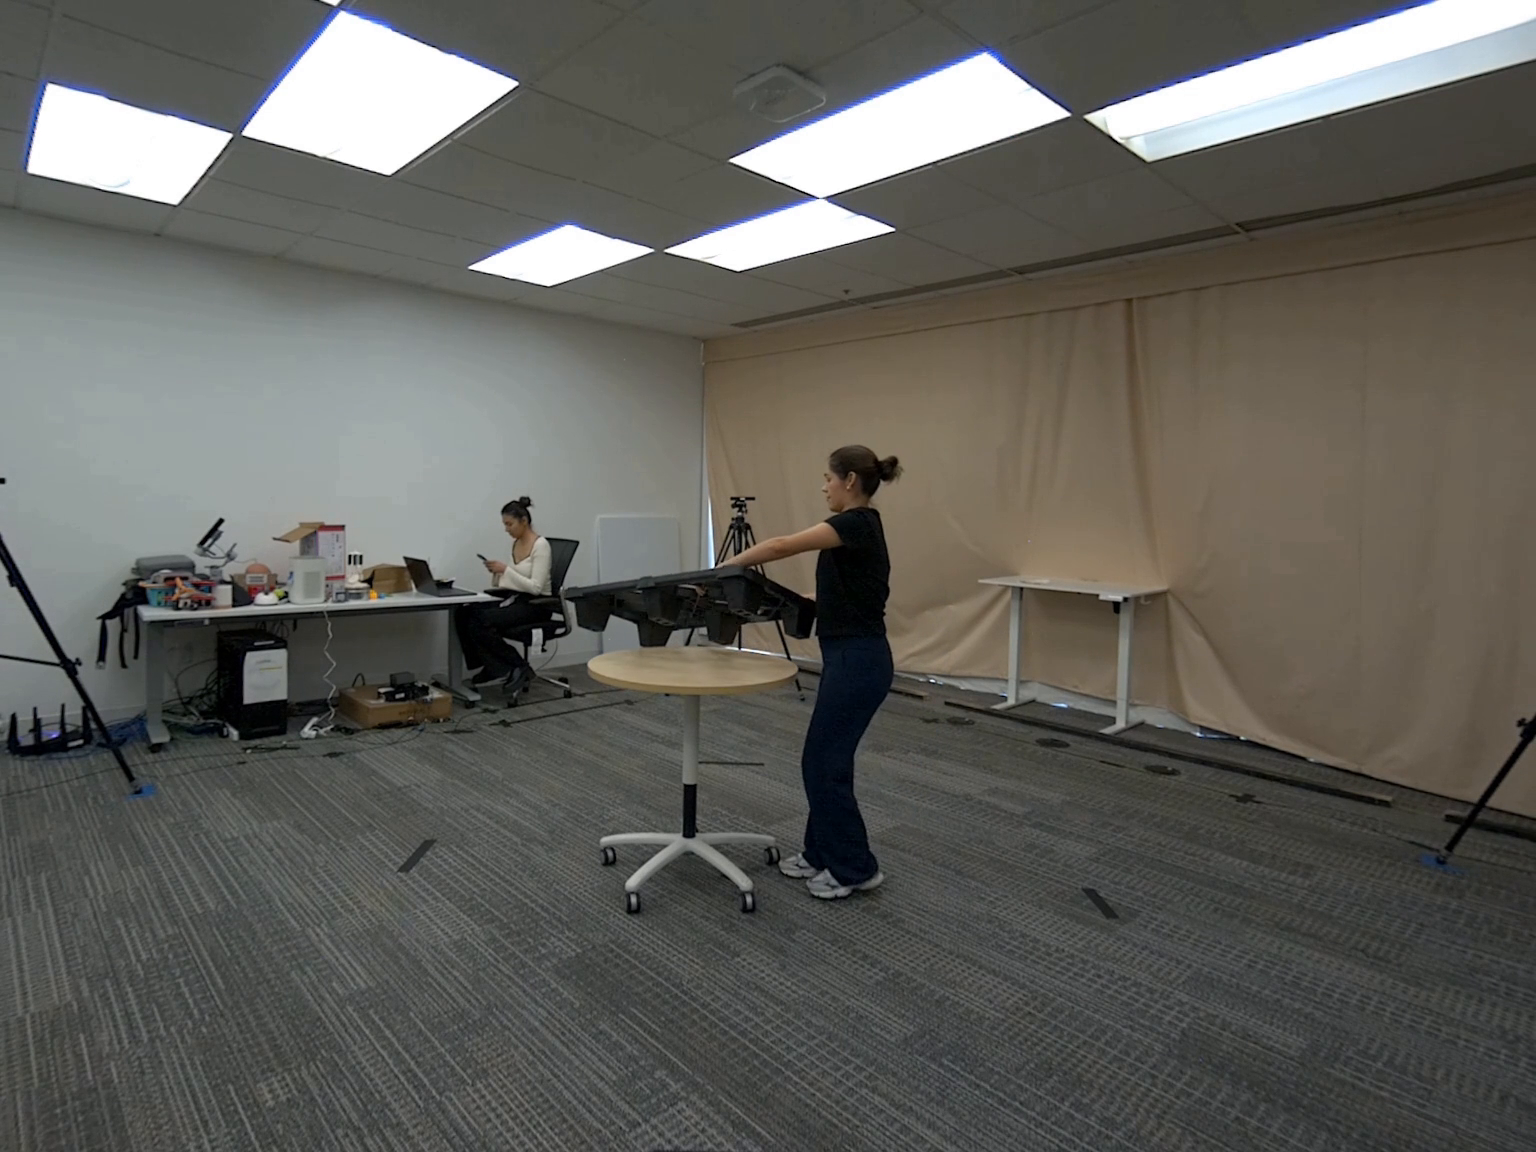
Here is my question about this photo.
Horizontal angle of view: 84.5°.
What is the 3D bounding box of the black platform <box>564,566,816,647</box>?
[{"bbox_3d":[-0.276,0.146,3.138,0.820,0.145,0.587,-8,-20,32],"label":"black platform"}]
